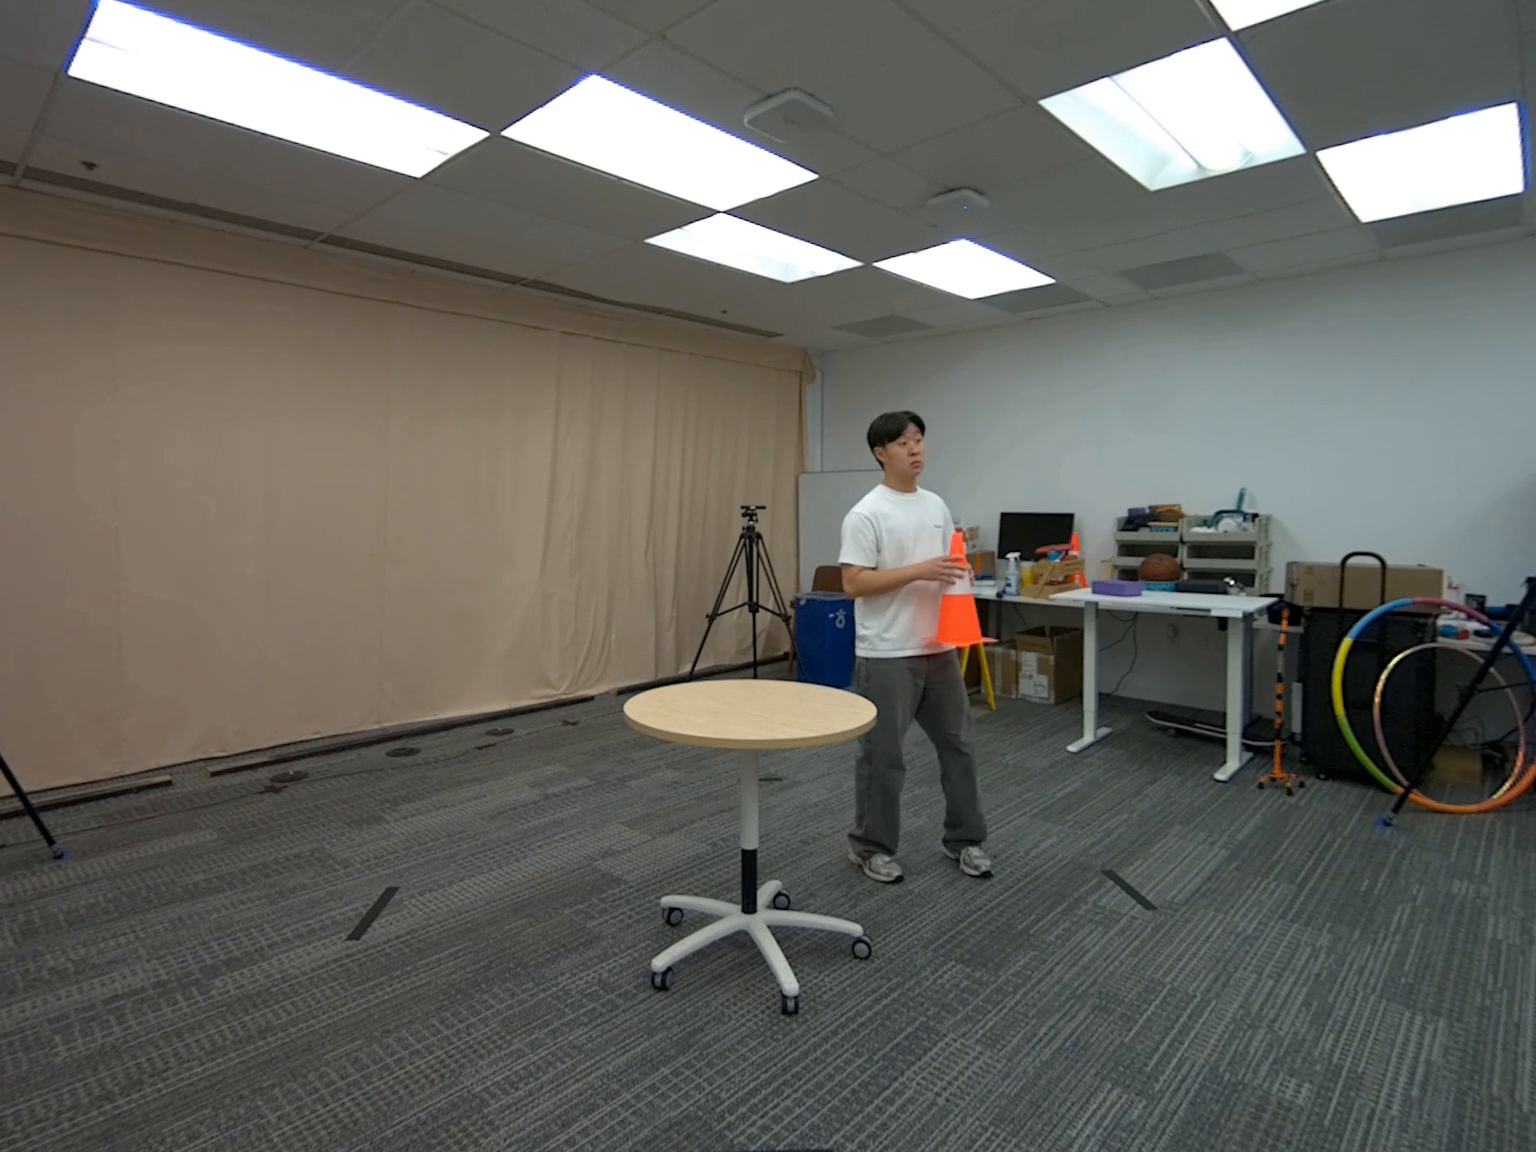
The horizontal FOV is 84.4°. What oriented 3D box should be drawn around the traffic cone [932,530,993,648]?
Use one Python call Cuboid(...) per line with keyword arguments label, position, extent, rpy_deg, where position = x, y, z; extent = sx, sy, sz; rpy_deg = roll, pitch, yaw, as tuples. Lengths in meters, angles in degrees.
Cuboid(label="traffic cone", position=(0.683, 0.035, 3.006), extent=(0.200, 0.383, 0.208), rpy_deg=(-5, 1, -26))
